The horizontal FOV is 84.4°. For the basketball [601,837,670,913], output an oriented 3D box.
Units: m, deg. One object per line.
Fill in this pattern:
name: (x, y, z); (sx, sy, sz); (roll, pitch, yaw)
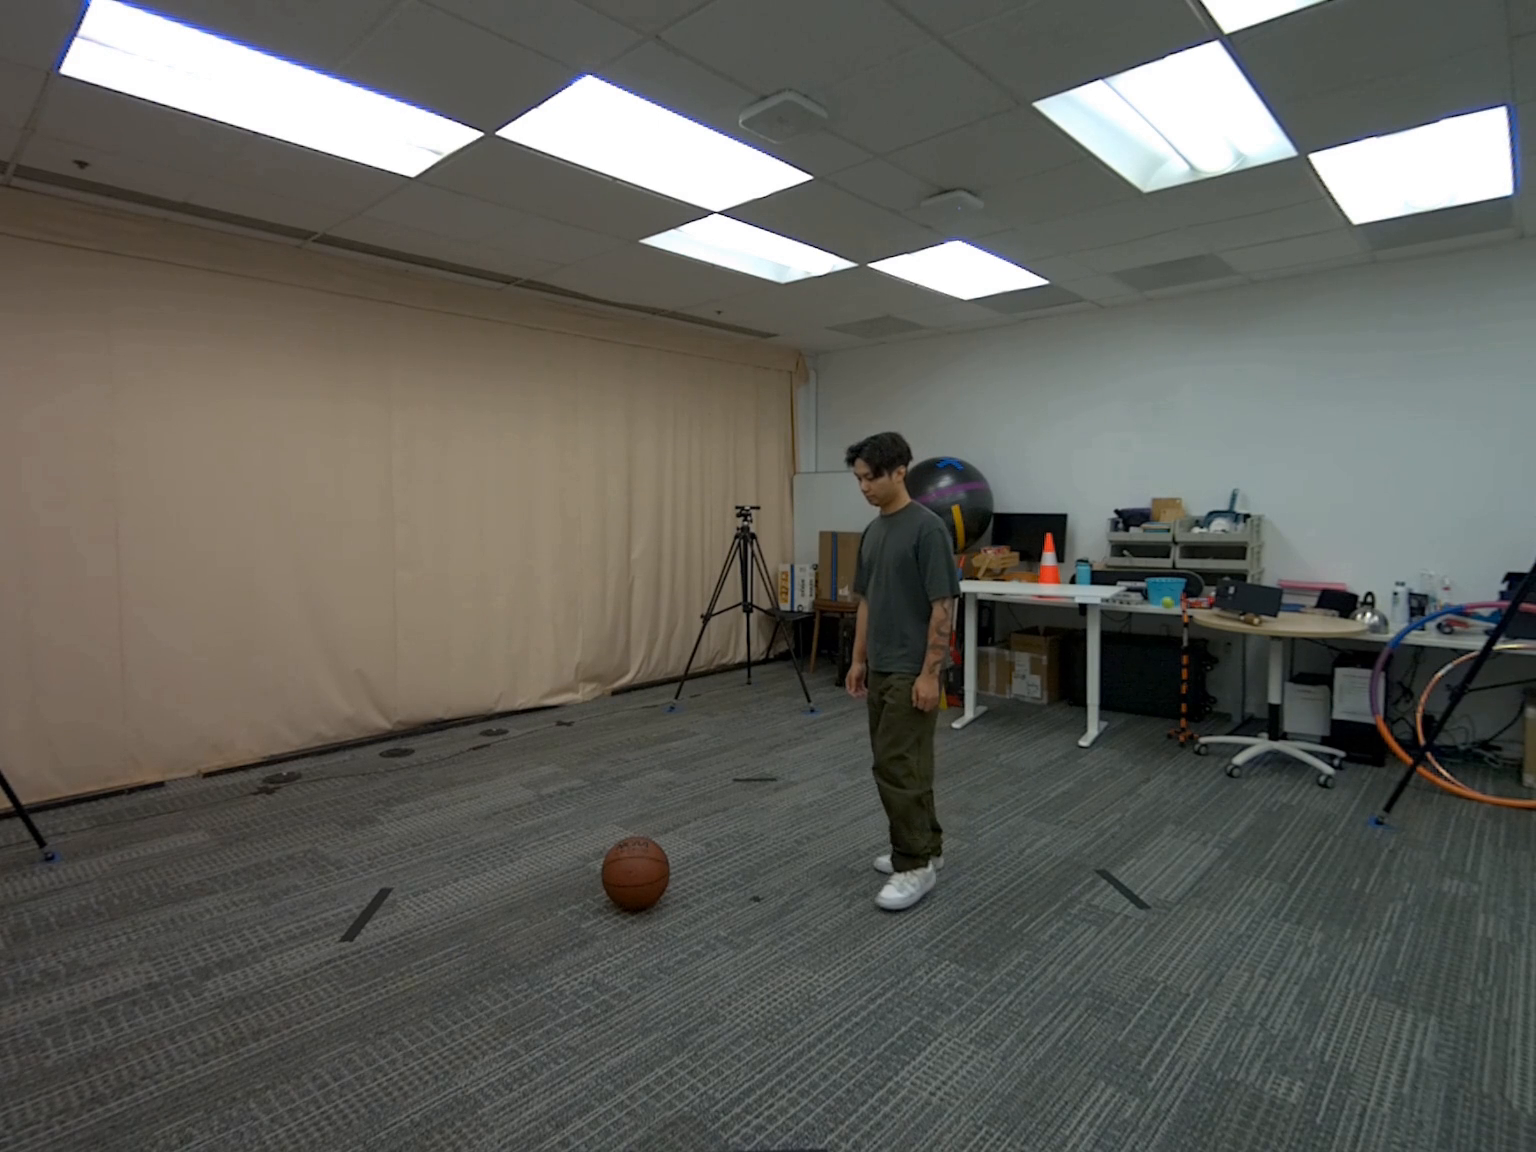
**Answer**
basketball: (-0.459, 1.034, 2.925); (0.236, 0.235, 0.237); (0, 4, -2)
